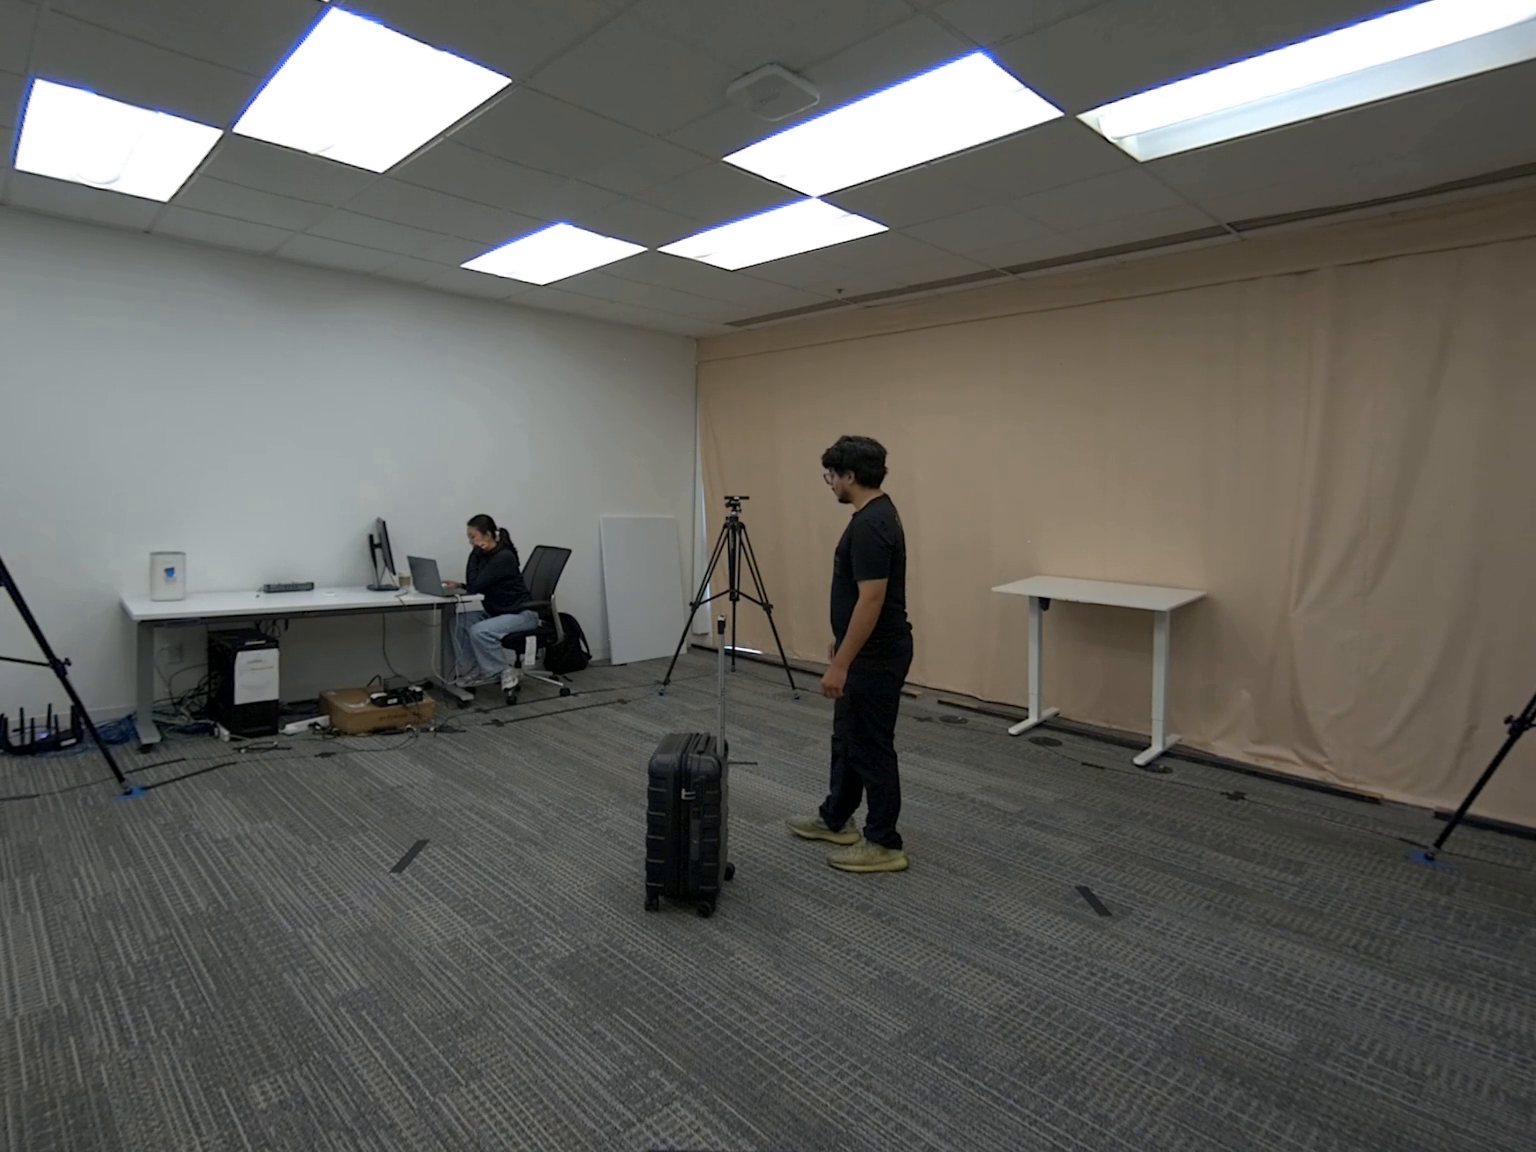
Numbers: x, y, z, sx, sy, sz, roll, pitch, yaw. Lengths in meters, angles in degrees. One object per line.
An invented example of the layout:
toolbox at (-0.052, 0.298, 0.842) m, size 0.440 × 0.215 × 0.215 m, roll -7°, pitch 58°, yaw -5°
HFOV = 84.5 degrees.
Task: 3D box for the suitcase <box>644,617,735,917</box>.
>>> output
suitcase at (-0.280, 0.641, 2.917) m, size 0.258 × 0.976 × 0.384 m, roll 0°, pitch 4°, yaw 3°
